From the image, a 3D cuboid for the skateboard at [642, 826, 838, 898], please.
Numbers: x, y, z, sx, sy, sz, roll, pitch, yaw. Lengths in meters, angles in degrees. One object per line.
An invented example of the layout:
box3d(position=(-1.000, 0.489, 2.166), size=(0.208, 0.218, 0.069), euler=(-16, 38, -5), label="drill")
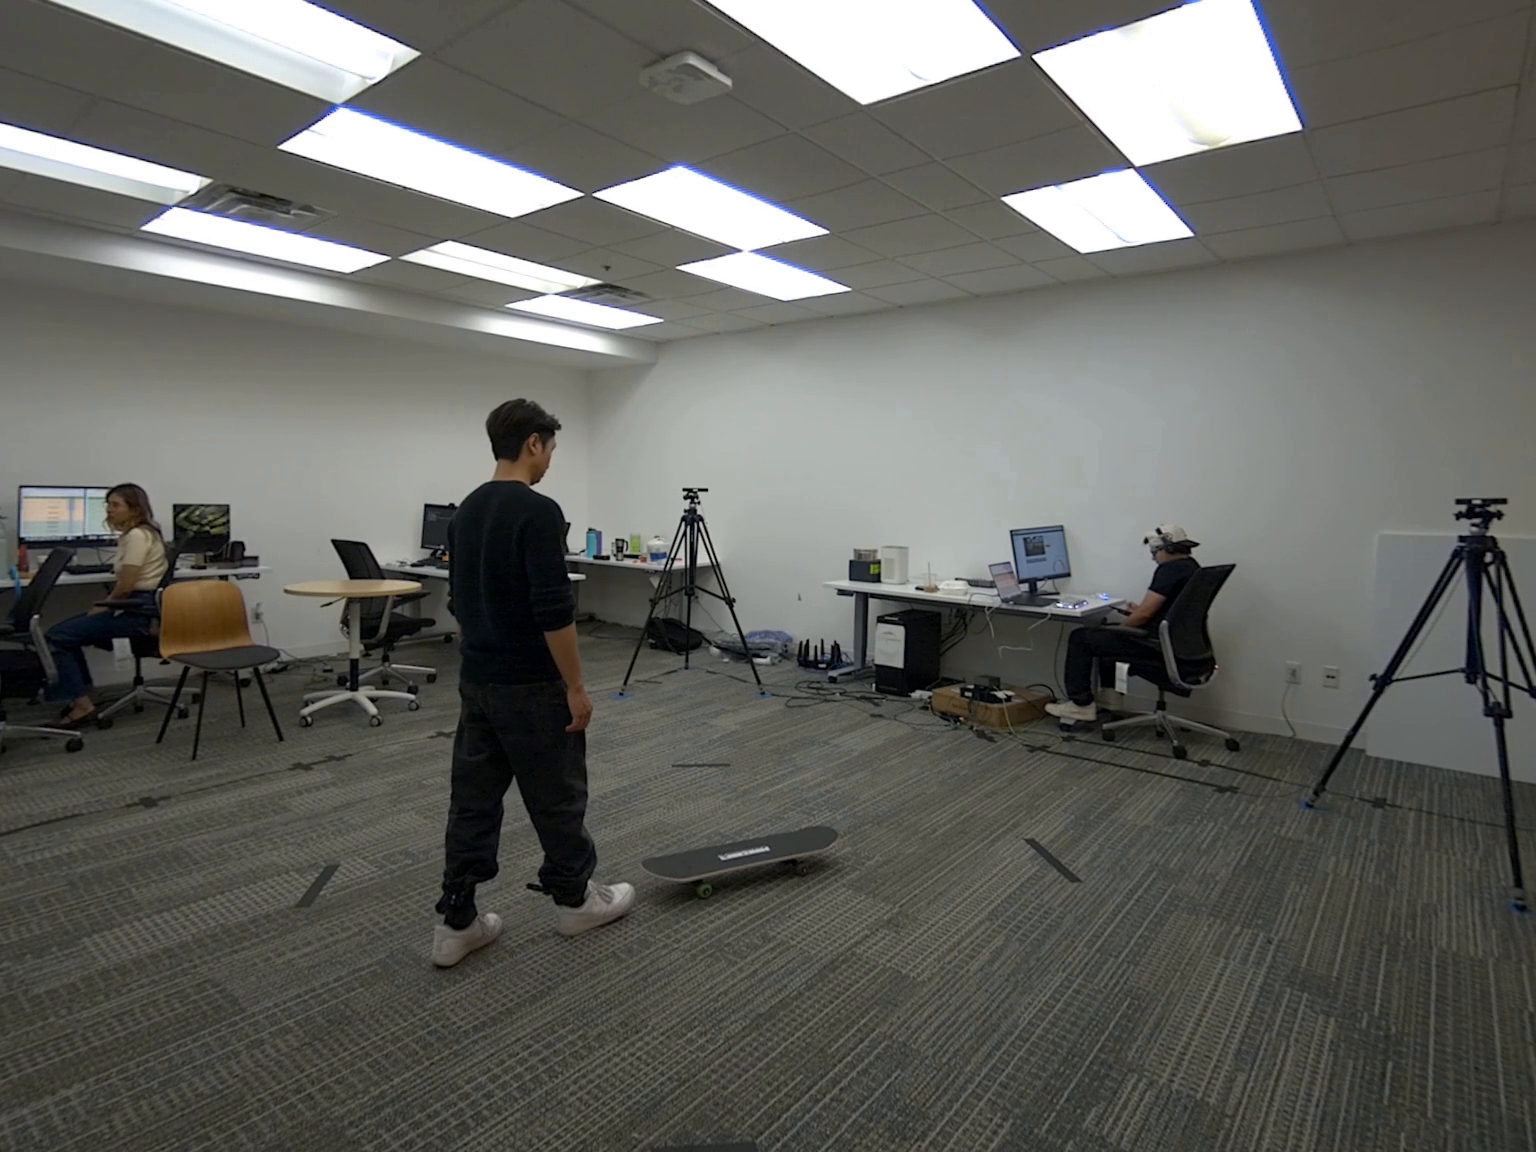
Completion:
box3d(position=(-0.091, 1.021, 3.049), size=(0.766, 0.110, 0.199), euler=(-2, 6, -28), label="skateboard")
